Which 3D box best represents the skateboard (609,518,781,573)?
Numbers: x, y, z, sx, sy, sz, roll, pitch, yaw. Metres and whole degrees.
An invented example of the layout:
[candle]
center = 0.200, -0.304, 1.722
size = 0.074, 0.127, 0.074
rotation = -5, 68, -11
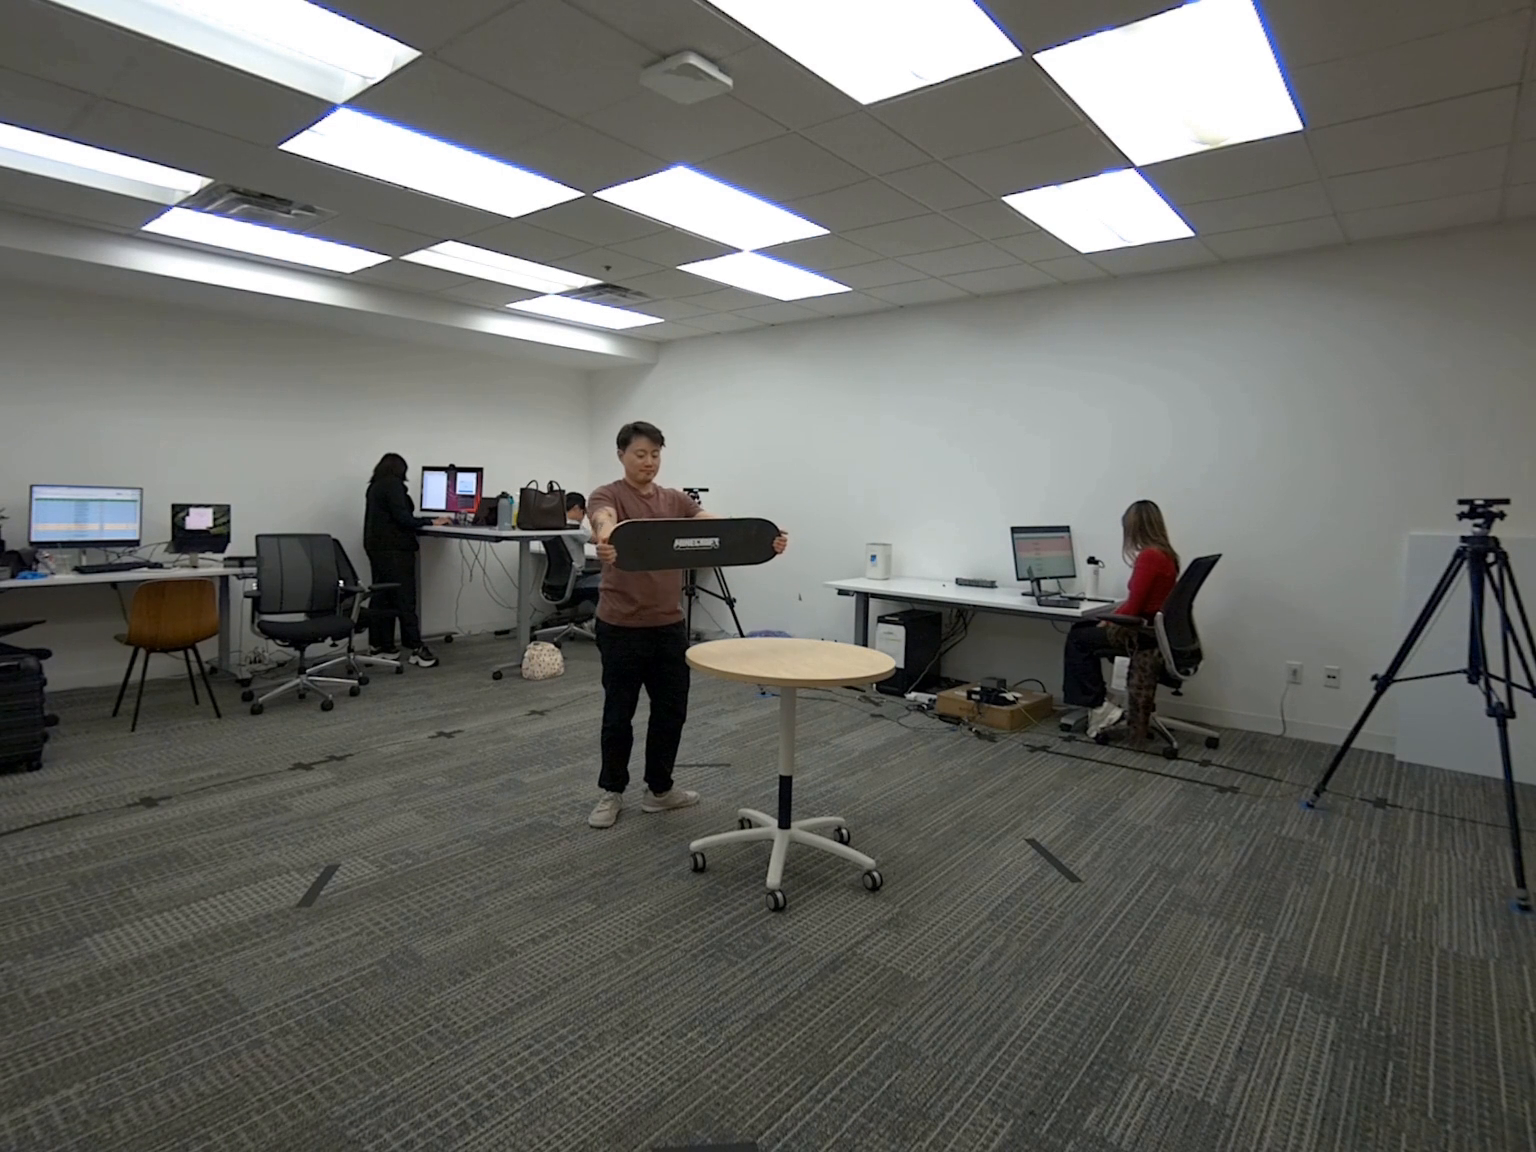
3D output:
[skateboard]
center = -0.301, -0.130, 3.296
size = 0.764, 0.193, 0.114
rotation = -4, 6, -34
